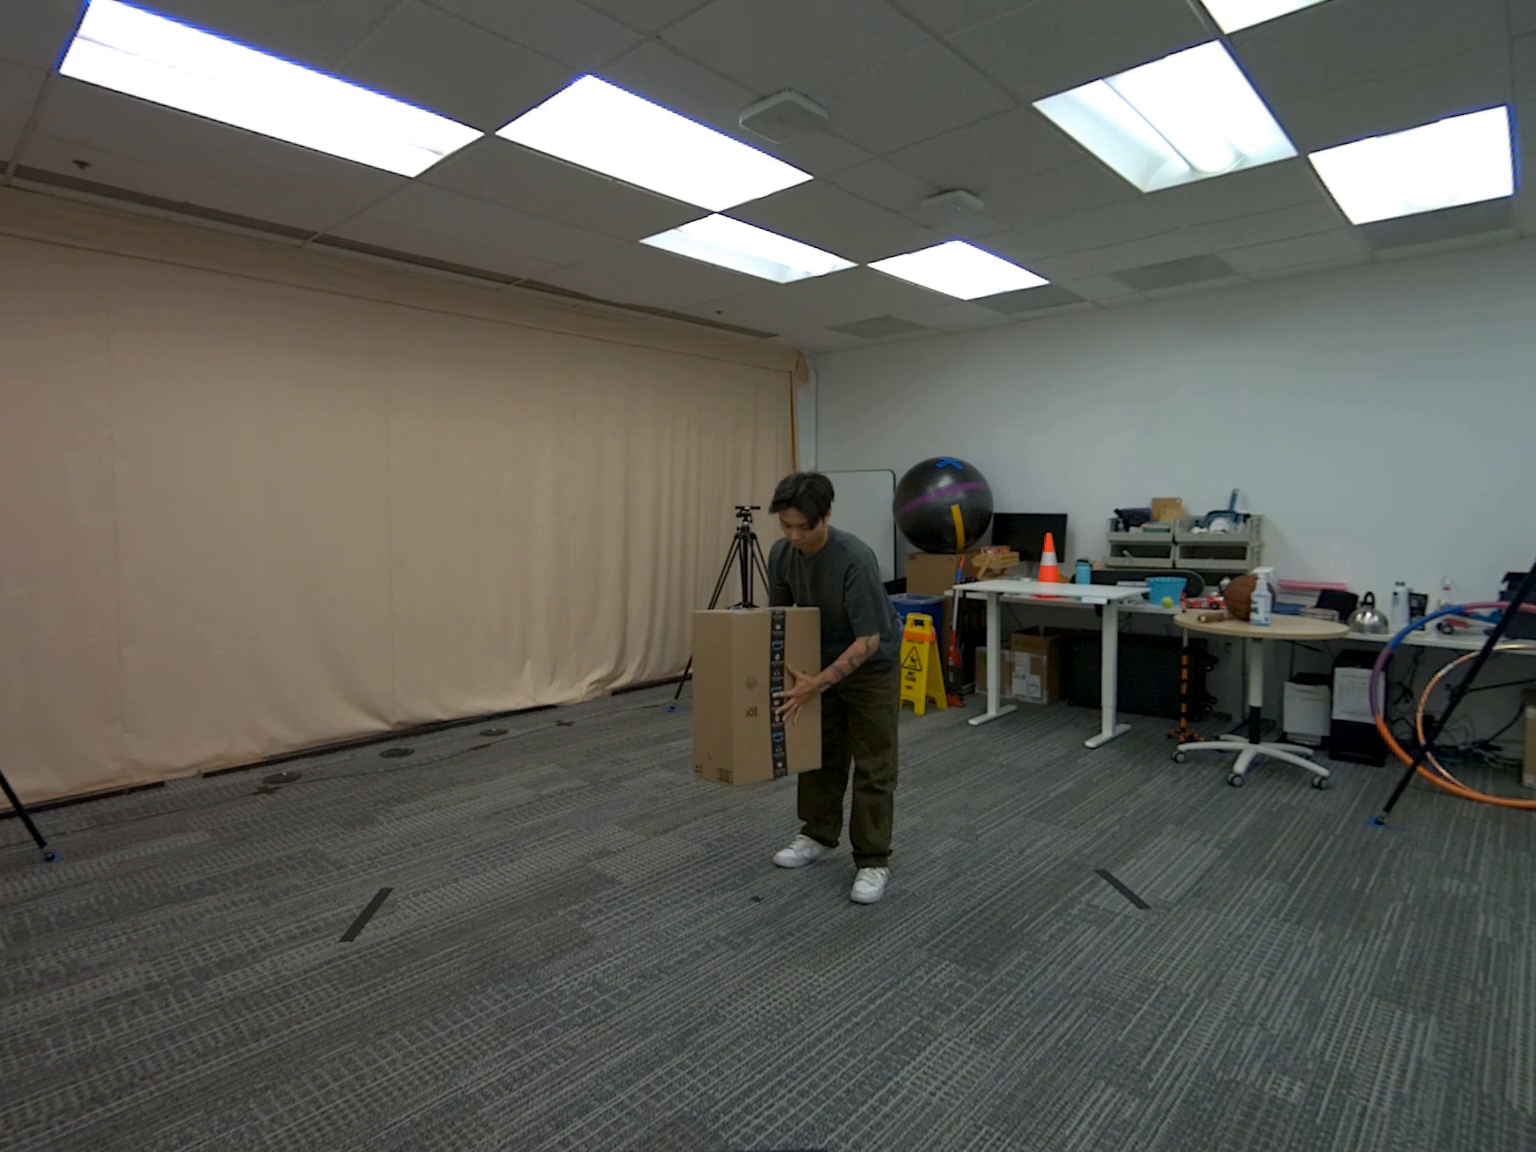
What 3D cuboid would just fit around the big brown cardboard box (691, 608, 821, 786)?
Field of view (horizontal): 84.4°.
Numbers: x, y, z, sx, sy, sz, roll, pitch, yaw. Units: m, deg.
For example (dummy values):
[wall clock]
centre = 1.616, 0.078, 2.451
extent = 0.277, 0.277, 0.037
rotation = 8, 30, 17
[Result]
[big brown cardboard box]
centre = -0.033, 0.401, 2.933
extent = 0.404, 0.590, 0.240
rotation = 1, -4, -41
